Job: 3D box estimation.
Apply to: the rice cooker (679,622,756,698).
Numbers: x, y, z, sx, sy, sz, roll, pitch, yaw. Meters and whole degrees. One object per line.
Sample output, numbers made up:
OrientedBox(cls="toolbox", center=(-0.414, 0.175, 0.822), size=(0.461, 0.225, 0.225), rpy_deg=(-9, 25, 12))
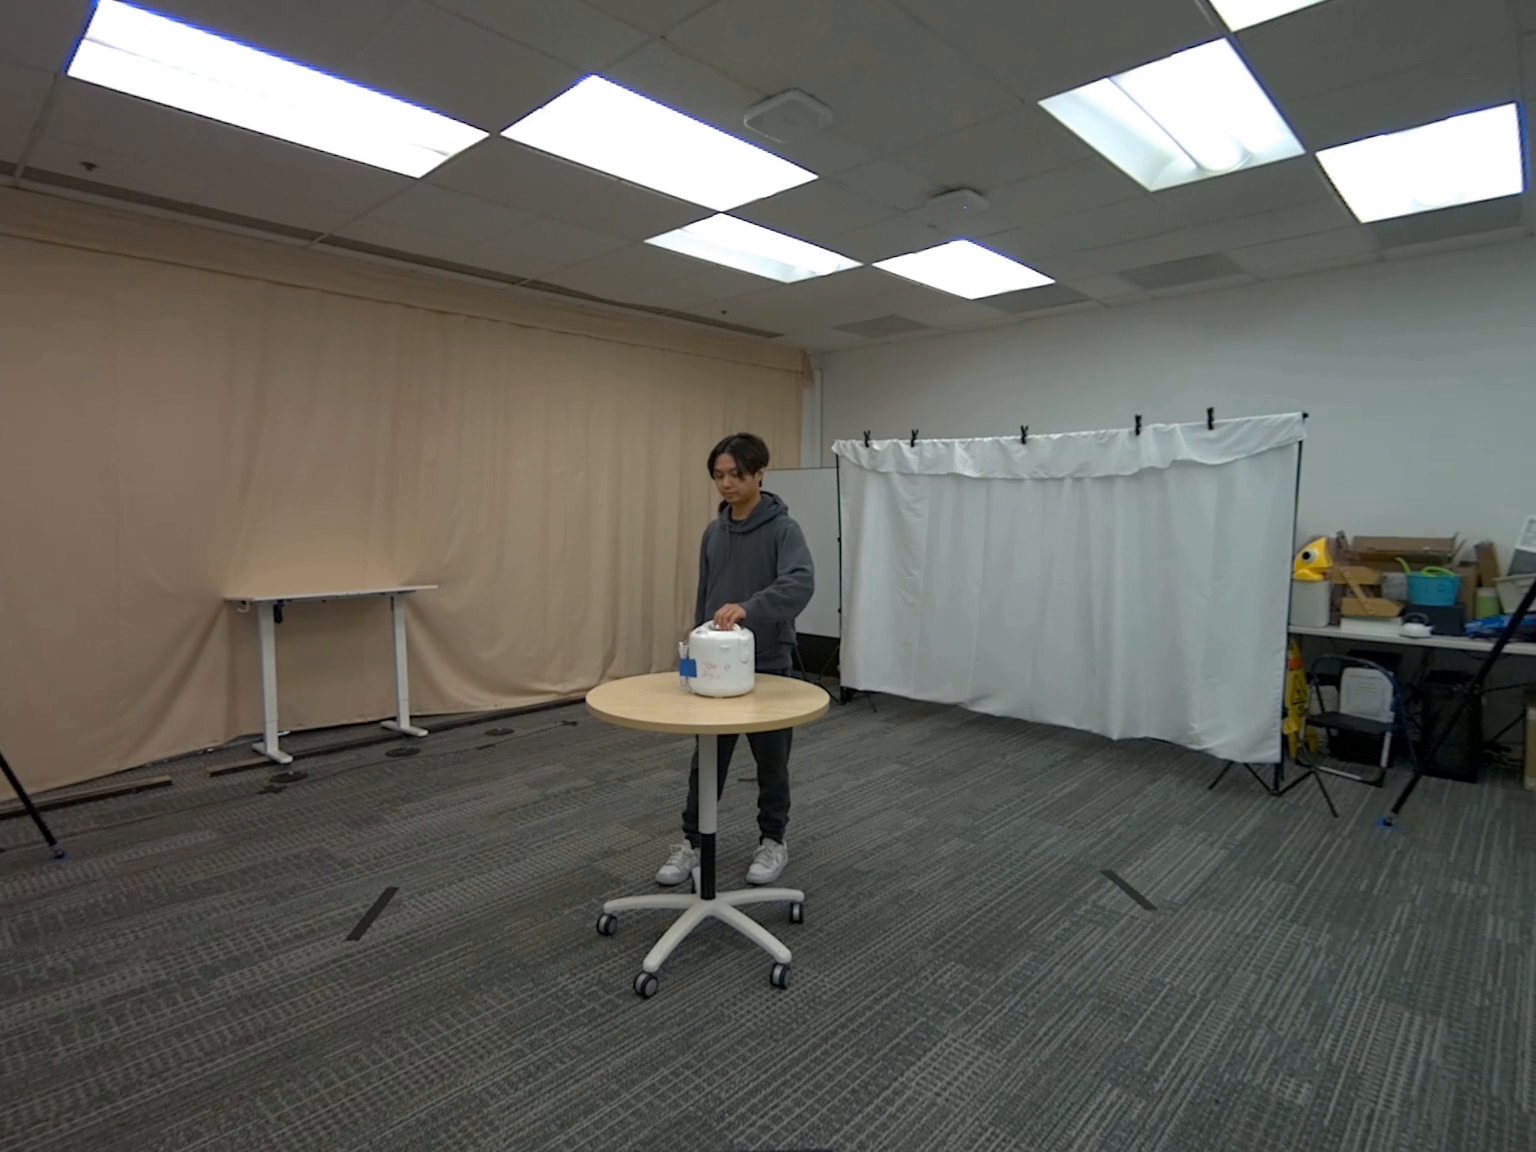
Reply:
OrientedBox(cls="rice cooker", center=(-0.147, 0.256, 2.693), size=(0.228, 0.232, 0.211), rpy_deg=(4, 5, 44))
